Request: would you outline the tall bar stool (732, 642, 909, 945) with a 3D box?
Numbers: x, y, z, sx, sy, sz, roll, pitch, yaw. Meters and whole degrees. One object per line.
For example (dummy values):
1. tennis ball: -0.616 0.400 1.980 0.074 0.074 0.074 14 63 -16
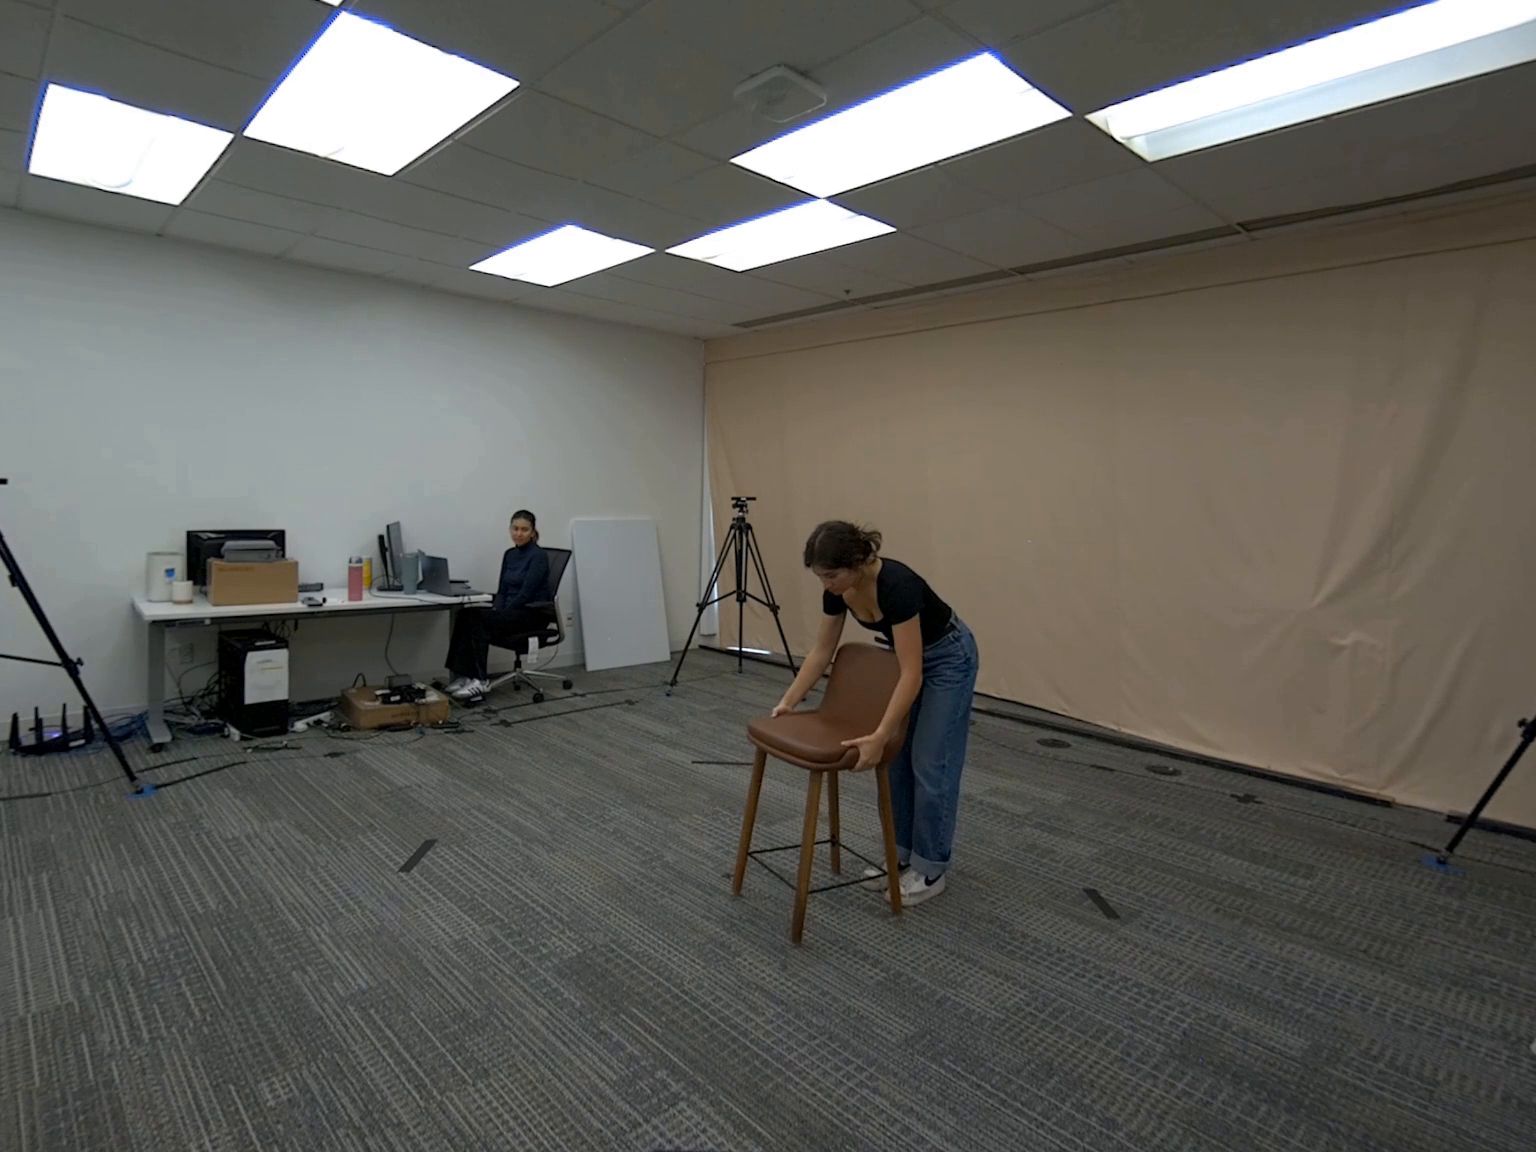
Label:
1. tall bar stool: 0.190 0.691 2.869 0.457 0.888 0.467 3 2 -31
